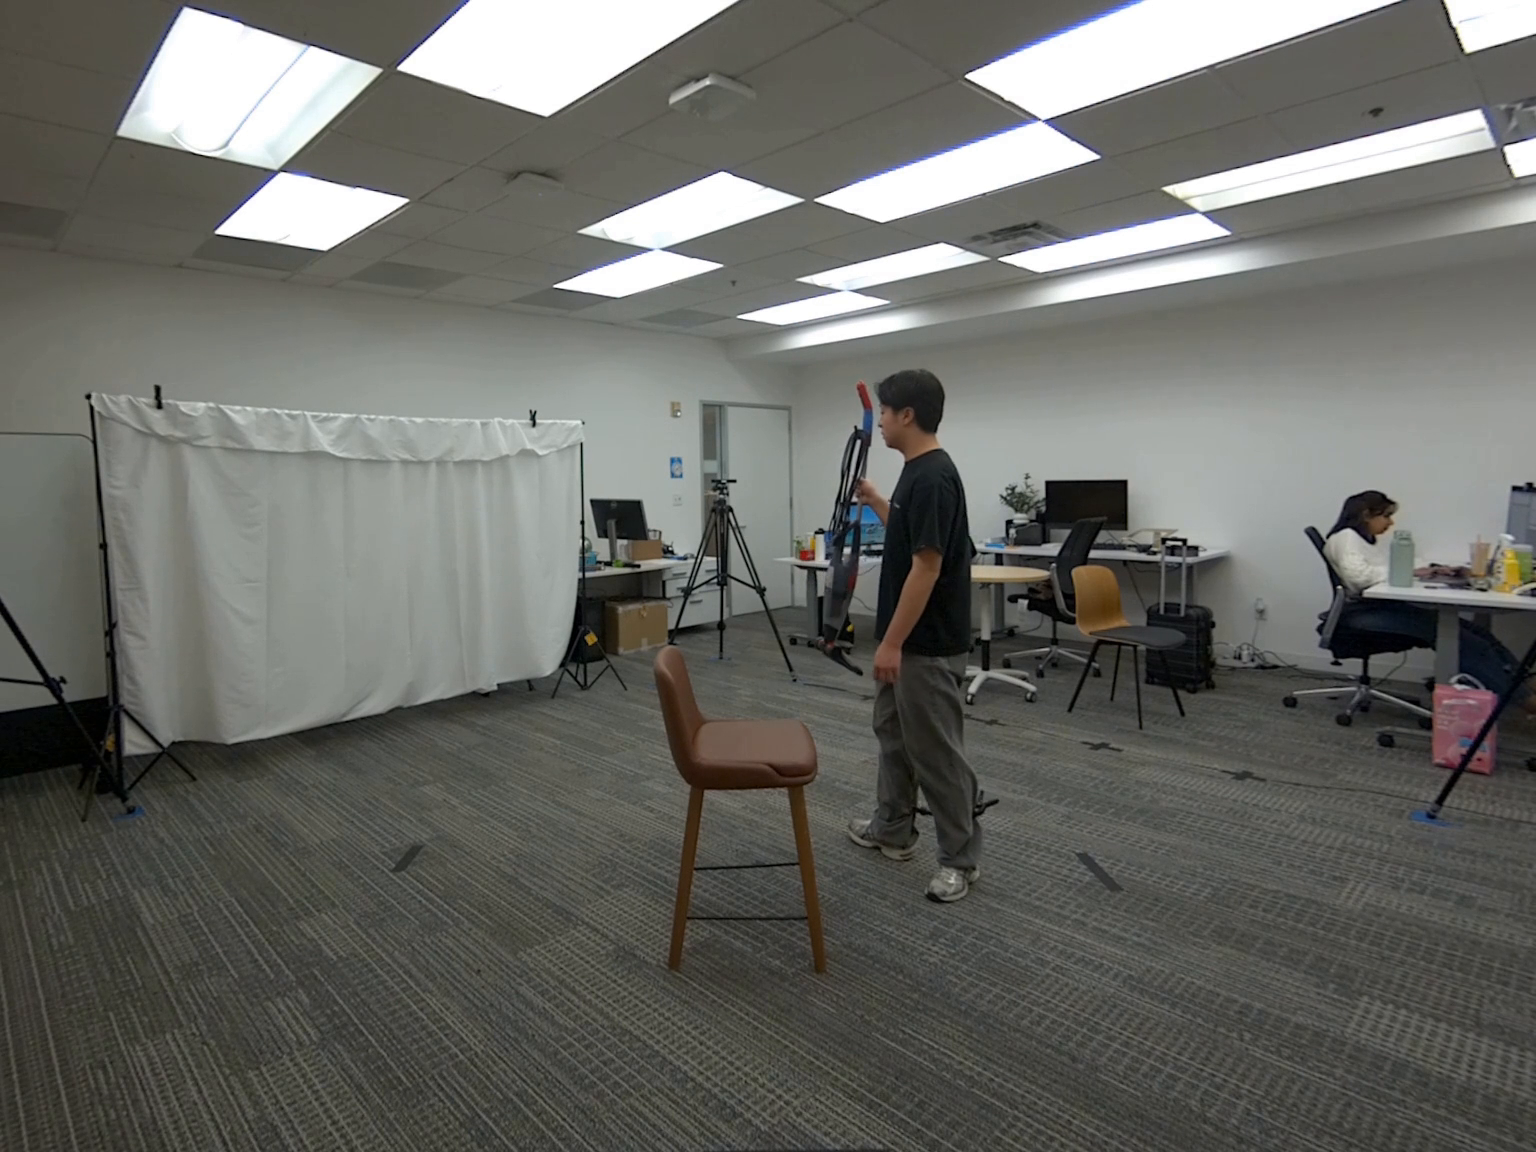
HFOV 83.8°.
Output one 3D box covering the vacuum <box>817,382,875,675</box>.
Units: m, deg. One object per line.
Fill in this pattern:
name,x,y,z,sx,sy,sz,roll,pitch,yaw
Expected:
vacuum,0.301,-0.203,3.256,0.140,1.042,0.260,-2,9,-30
